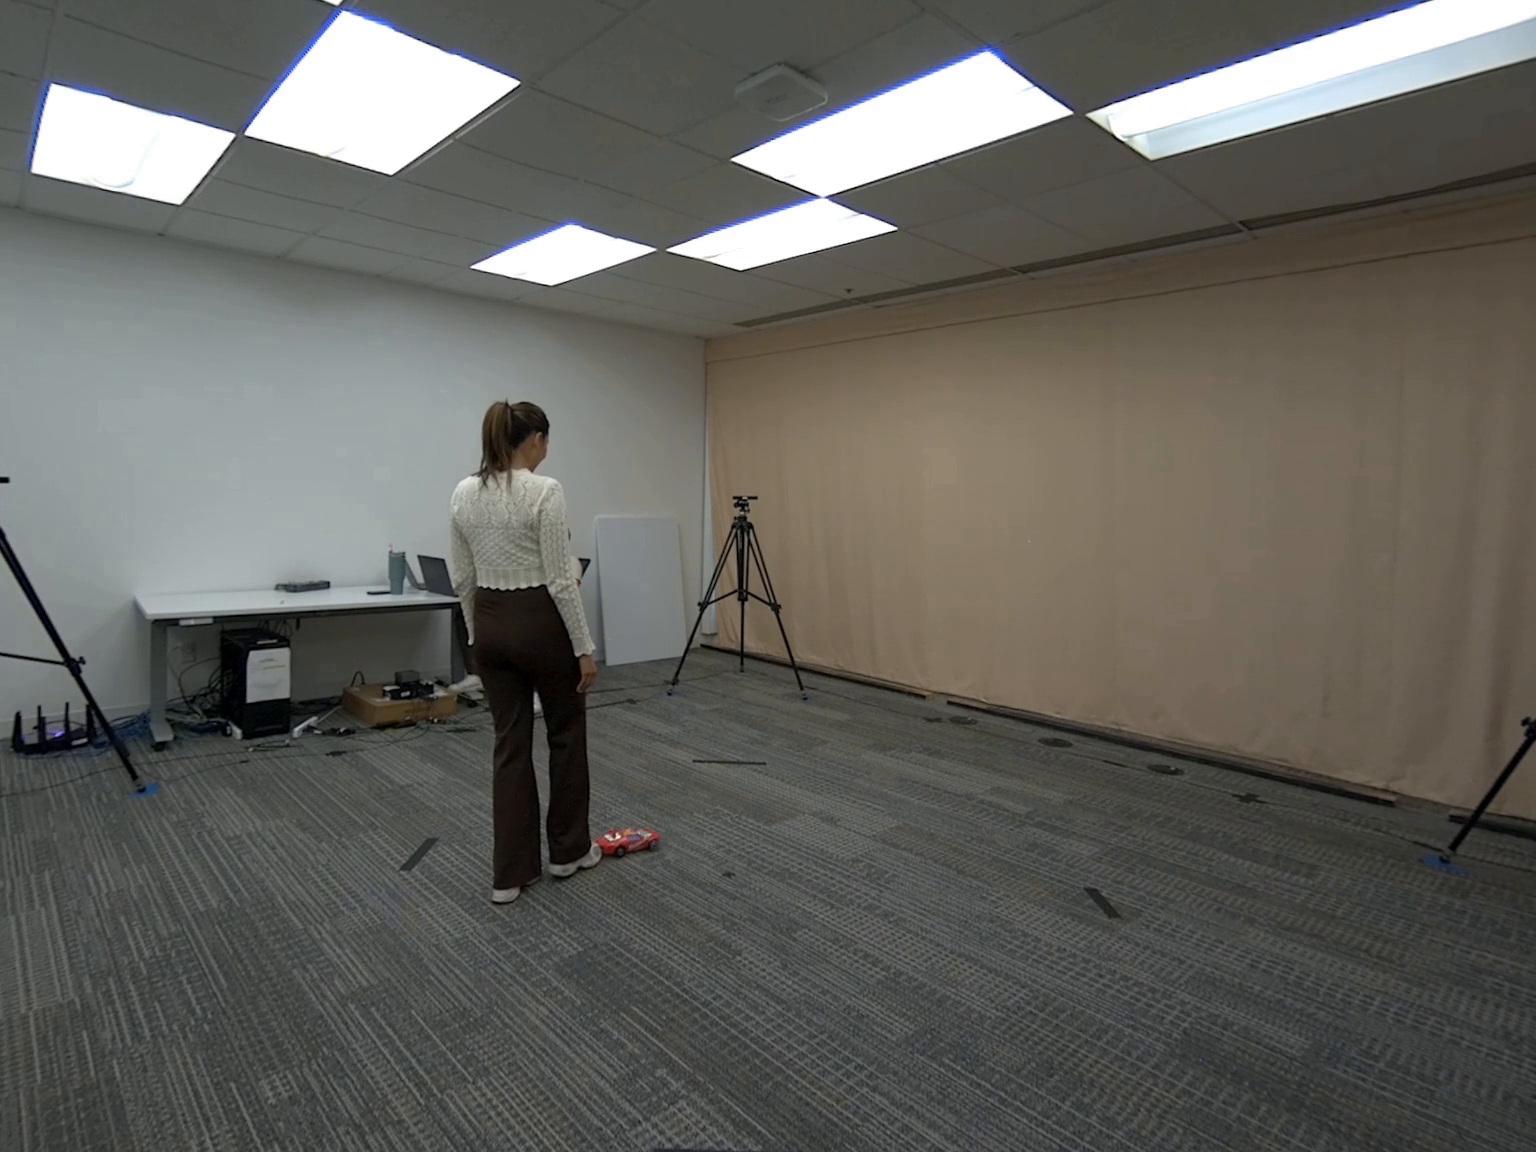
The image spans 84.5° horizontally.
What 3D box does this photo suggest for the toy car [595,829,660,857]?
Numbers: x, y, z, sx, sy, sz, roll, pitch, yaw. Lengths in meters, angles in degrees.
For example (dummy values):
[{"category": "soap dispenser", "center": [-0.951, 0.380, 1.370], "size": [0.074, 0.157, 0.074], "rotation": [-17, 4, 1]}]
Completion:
[{"category": "toy car", "center": [-0.561, 1.044, 3.298], "size": [0.248, 0.083, 0.133], "rotation": [11, -2, -33]}]
